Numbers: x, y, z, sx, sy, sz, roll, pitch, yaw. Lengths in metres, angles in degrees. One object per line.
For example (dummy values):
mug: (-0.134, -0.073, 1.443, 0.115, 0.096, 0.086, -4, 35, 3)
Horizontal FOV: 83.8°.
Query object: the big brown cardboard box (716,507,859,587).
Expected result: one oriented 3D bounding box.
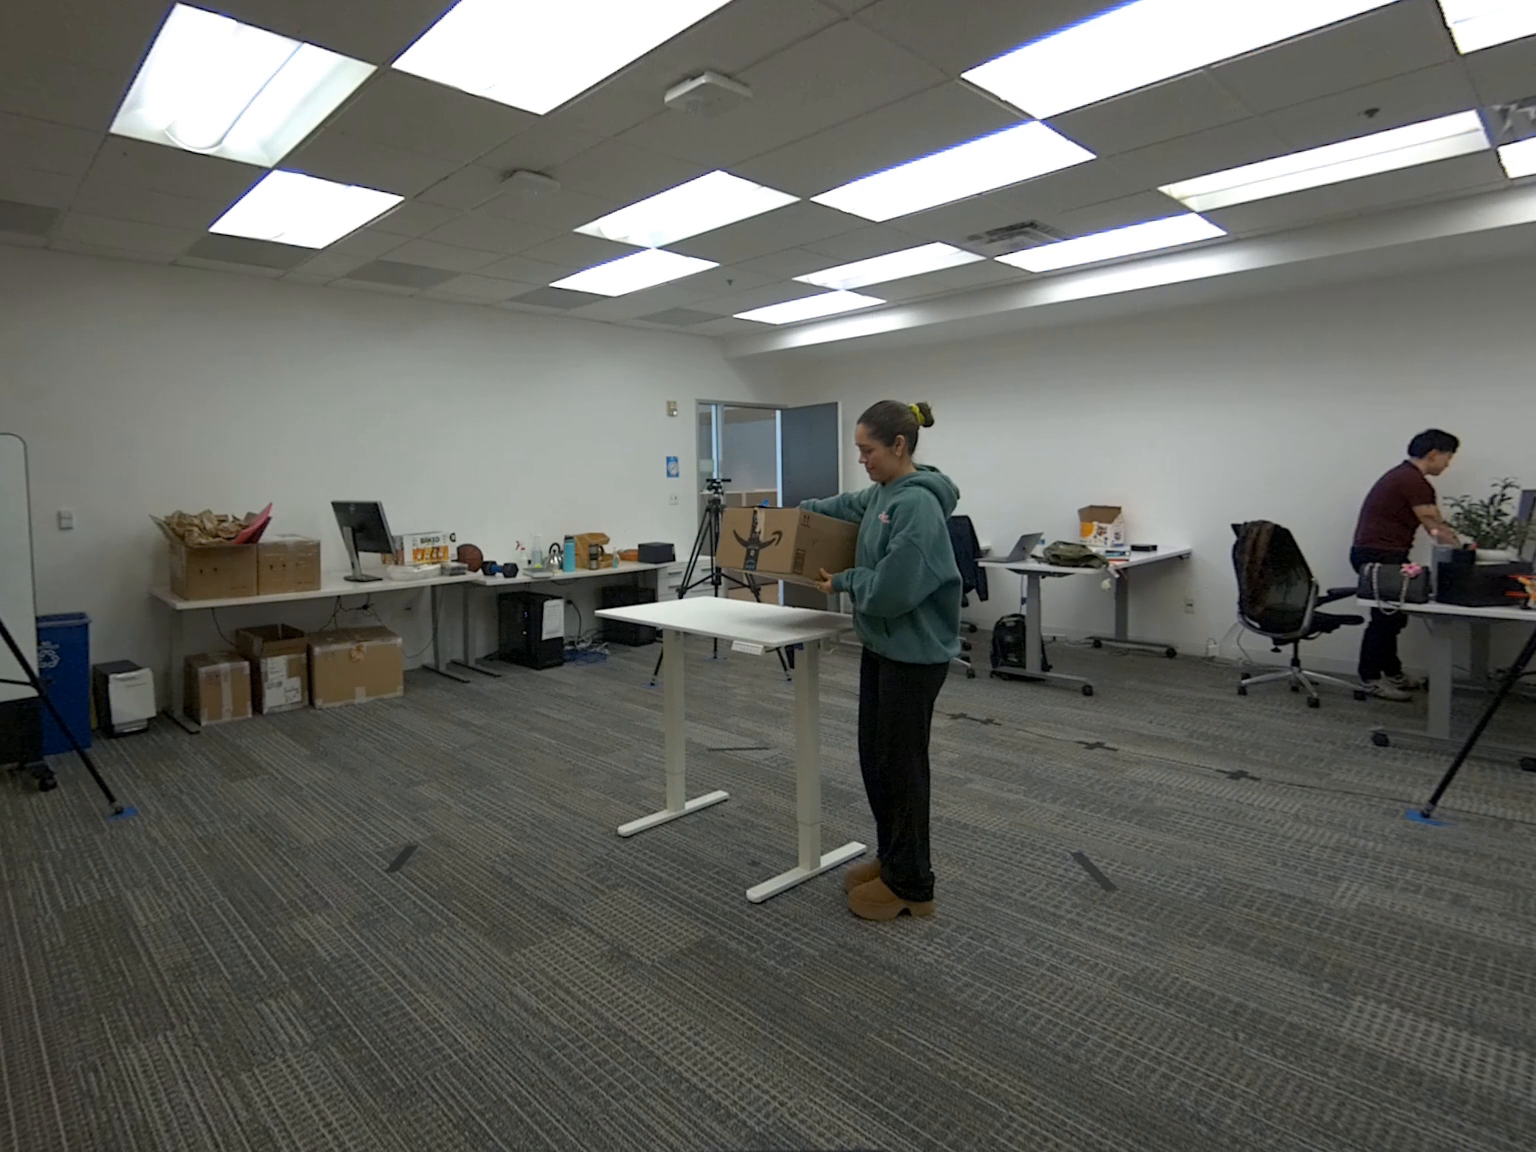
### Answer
big brown cardboard box: (0.172, -0.083, 3.068, 0.570, 0.234, 0.430, 11, -4, -38)
